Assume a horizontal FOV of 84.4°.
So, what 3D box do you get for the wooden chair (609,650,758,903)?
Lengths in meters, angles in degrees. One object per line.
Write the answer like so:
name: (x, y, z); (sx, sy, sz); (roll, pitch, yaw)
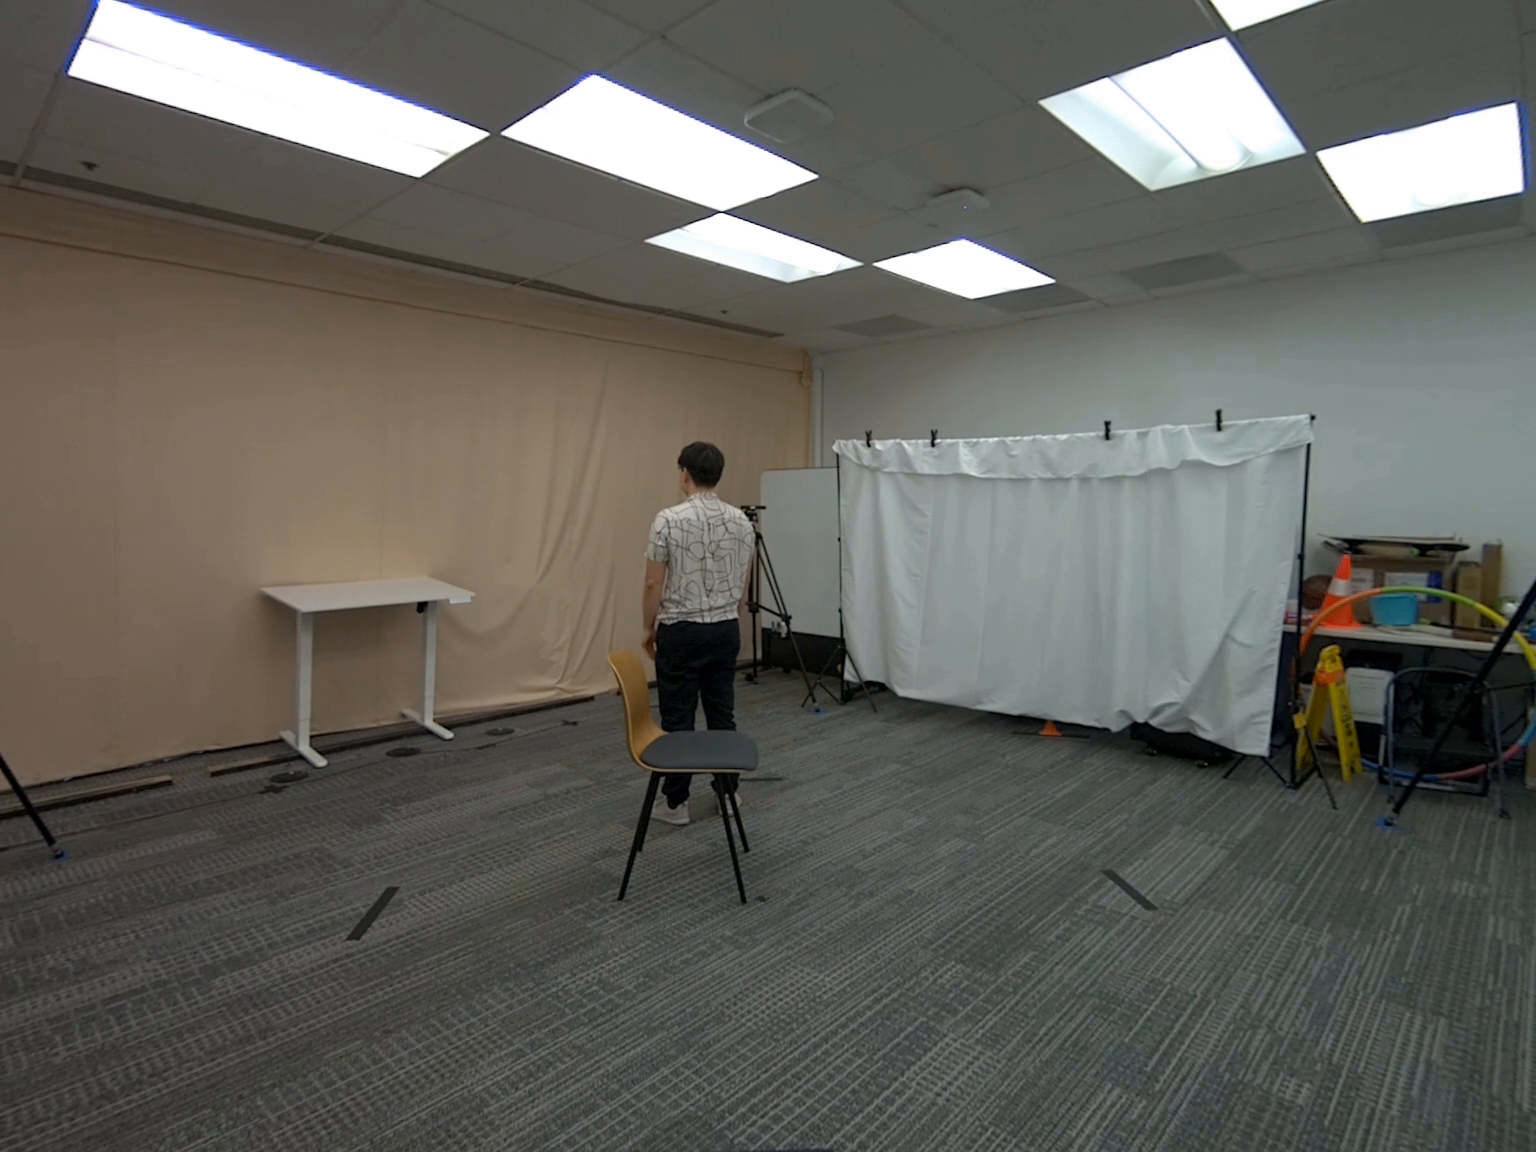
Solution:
wooden chair: (-0.295, 0.703, 3.156); (0.525, 0.876, 0.477); (-4, 2, 2)
